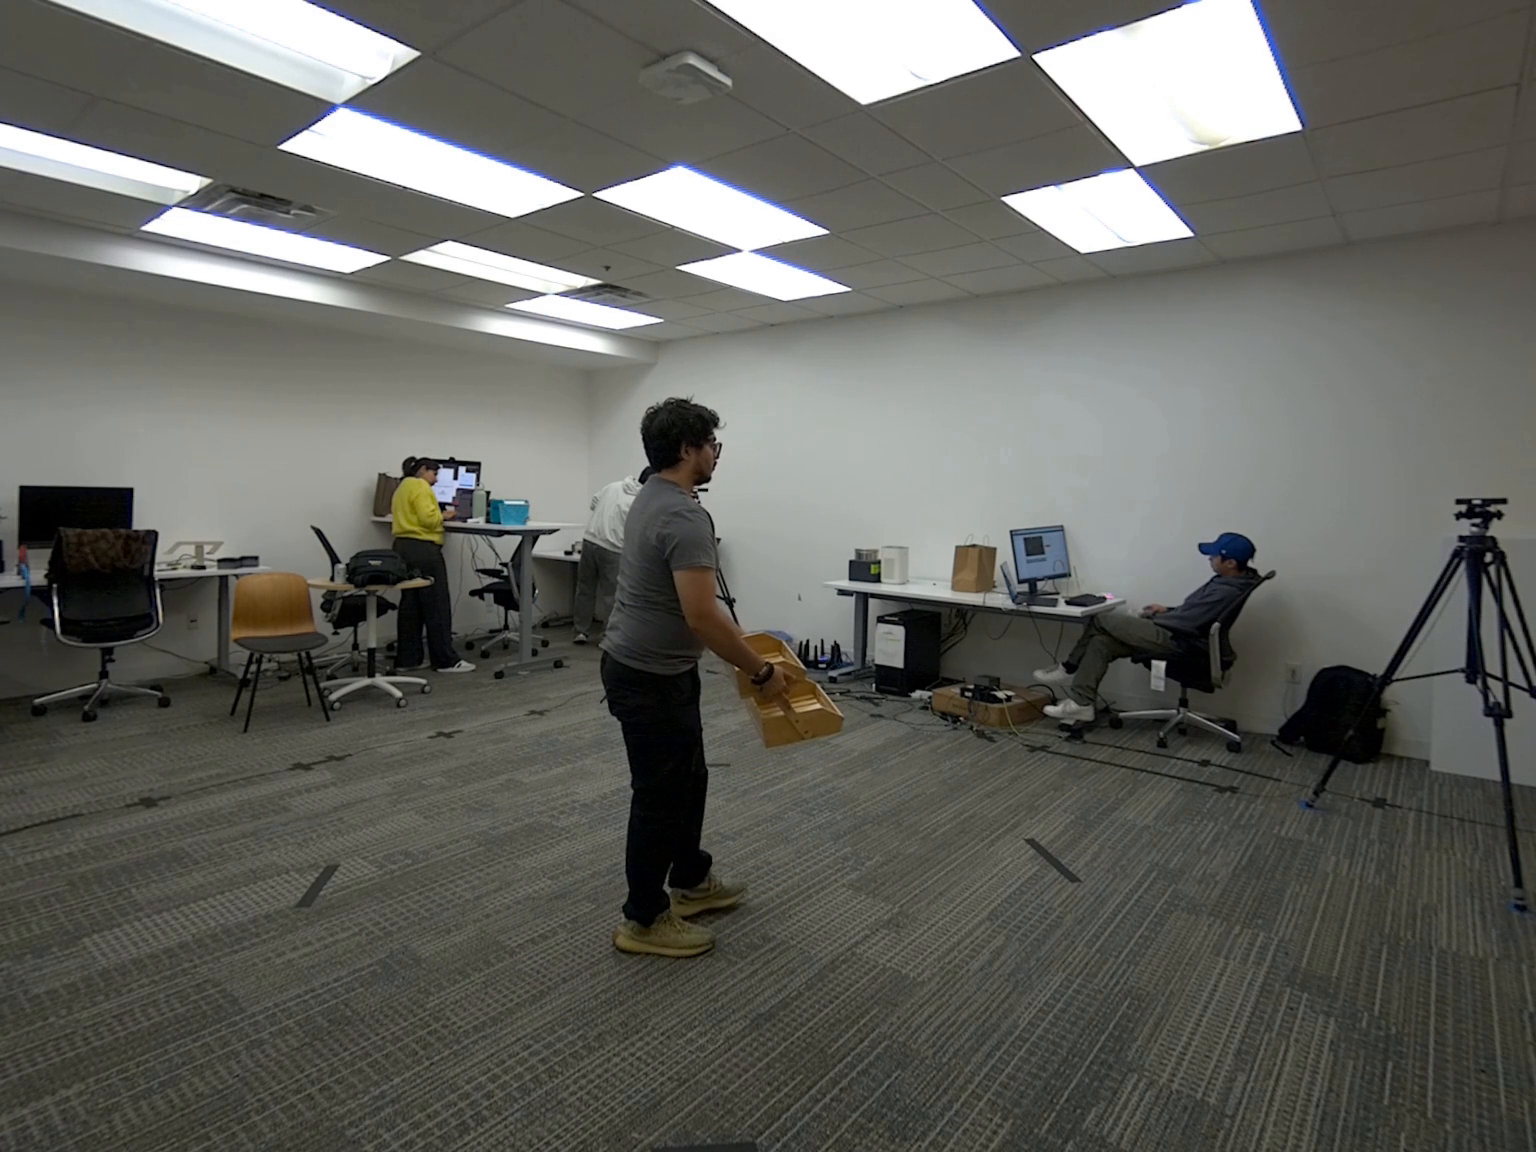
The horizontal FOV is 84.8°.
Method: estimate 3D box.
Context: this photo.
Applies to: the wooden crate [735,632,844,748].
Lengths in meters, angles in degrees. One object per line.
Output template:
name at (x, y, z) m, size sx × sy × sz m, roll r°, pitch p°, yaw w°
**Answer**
wooden crate at (0.029, 0.335, 2.657) m, size 0.300 × 0.270 × 0.331 m, roll -11°, pitch 13°, yaw -8°
